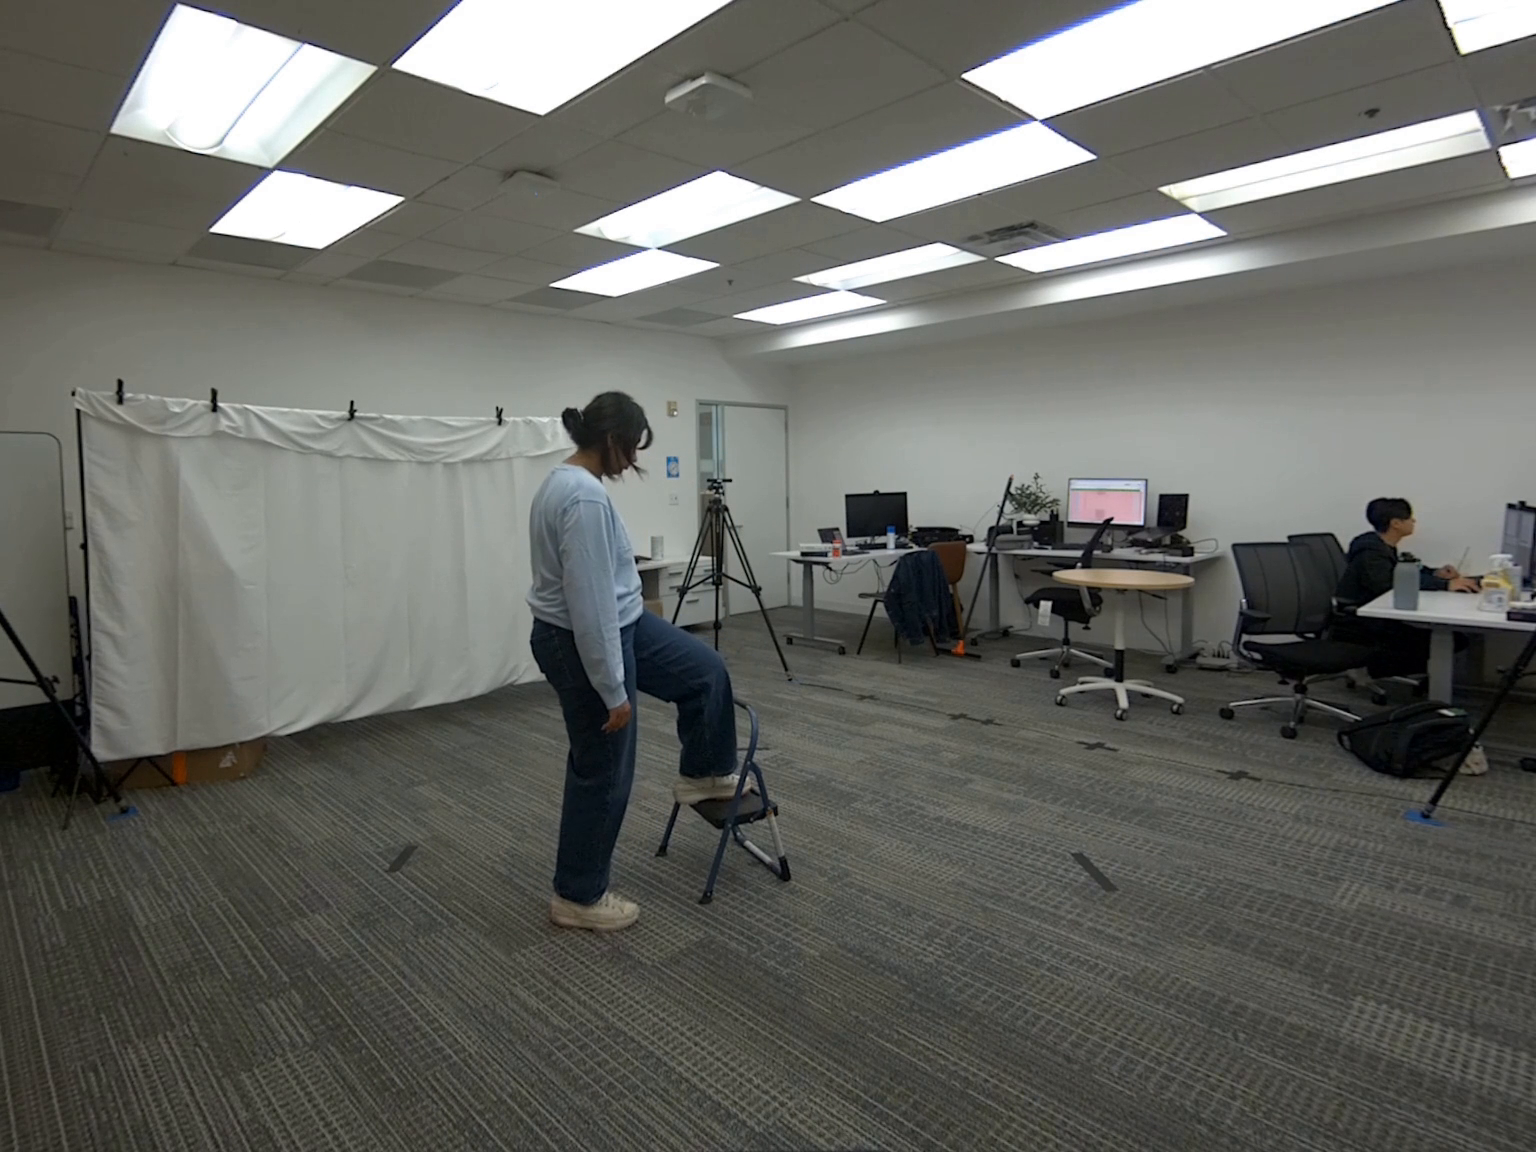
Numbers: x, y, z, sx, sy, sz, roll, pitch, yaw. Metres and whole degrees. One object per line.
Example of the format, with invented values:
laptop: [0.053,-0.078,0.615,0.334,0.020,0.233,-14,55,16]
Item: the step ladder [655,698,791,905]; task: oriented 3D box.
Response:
step ladder: [-0.168,0.751,3.060,0.341,0.604,0.442,-3,5,-28]
